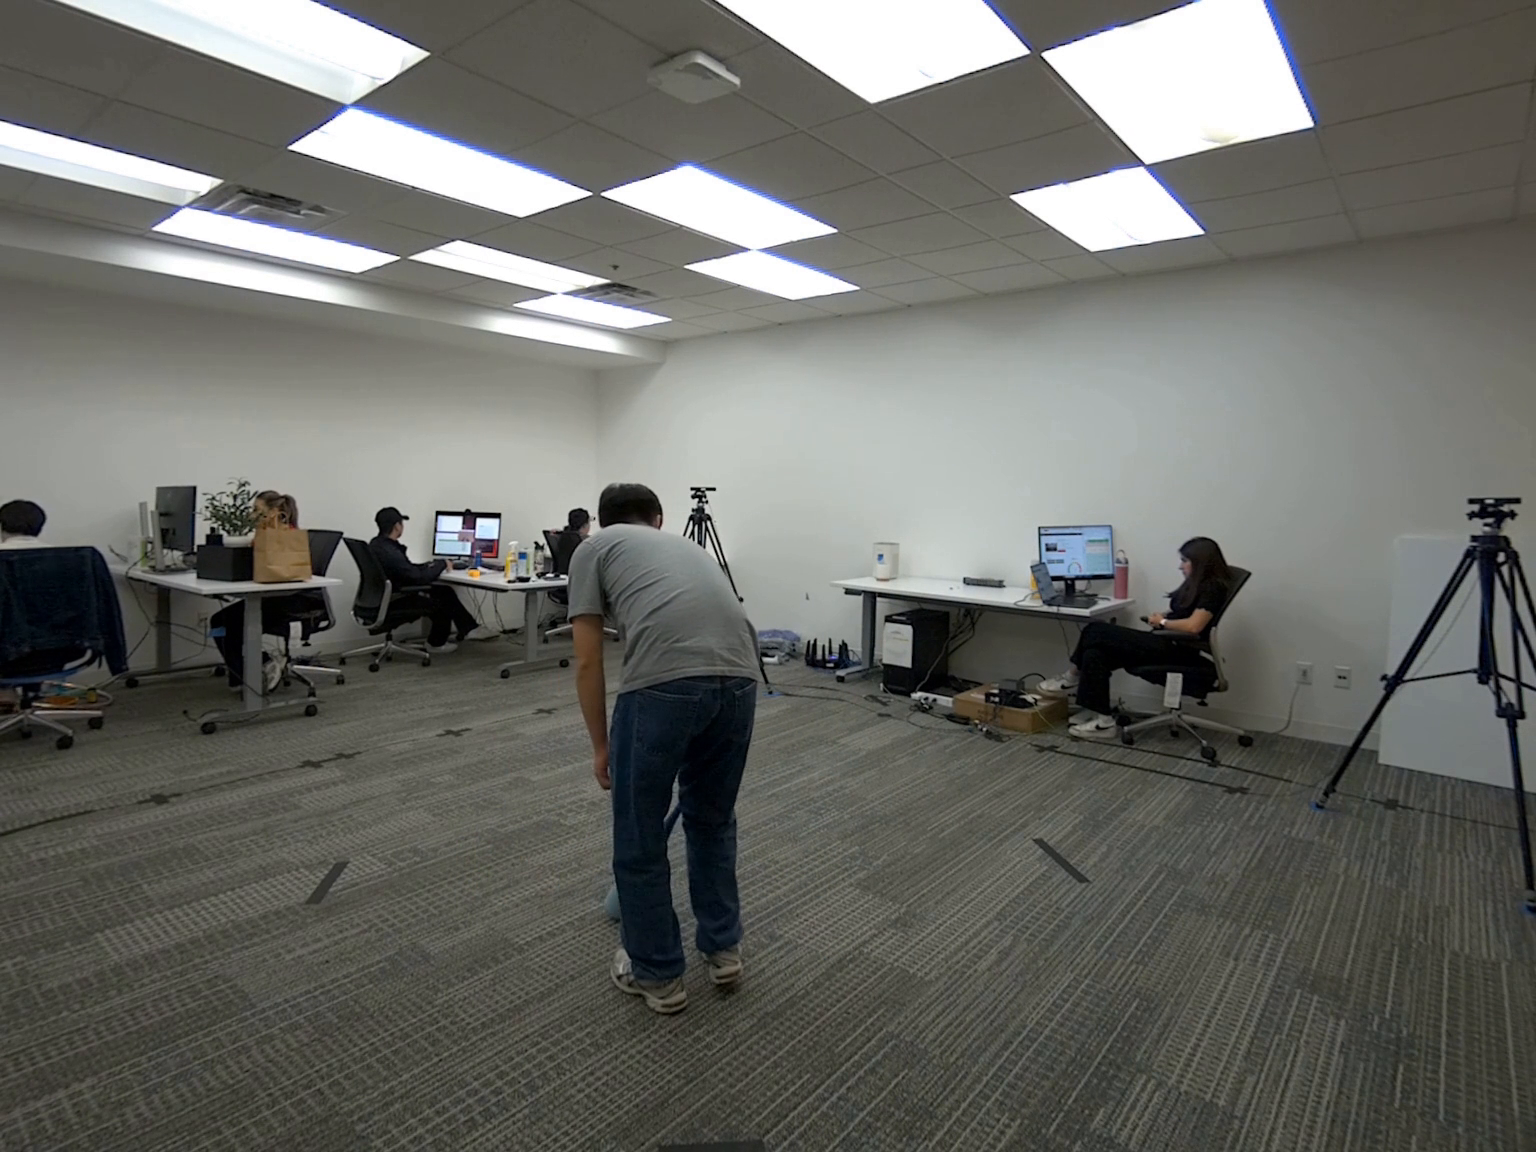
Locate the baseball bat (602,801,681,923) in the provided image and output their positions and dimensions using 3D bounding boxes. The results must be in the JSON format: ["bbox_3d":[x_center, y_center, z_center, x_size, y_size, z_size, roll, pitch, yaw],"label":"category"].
[{"bbox_3d":[-0.367,0.854,2.705,0.088,0.542,0.090,30,8,-7],"label":"baseball bat"}]
